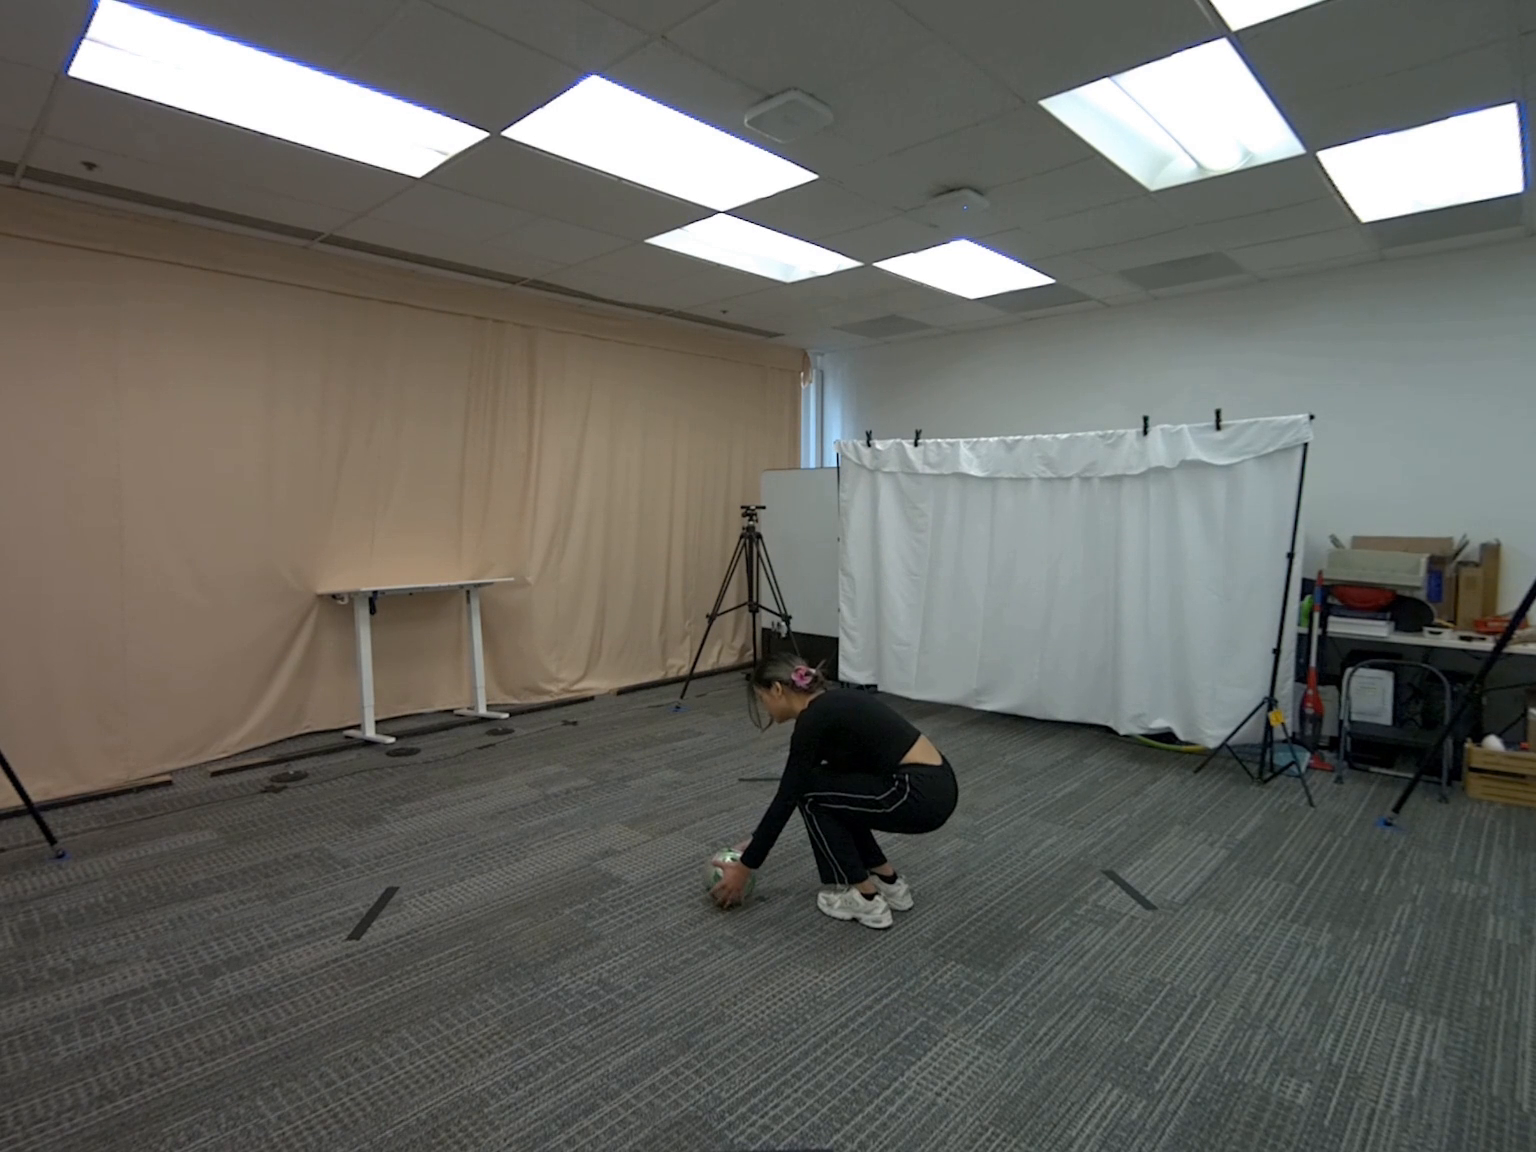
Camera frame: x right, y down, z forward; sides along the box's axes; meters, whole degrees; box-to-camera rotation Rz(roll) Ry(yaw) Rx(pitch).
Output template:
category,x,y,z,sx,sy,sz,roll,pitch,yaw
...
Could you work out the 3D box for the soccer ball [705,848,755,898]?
category,x,y,z,sx,sy,sz,roll,pitch,yaw
soccer ball,-0.131,1.044,2.957,0.187,0.187,0.188,0,4,-2
